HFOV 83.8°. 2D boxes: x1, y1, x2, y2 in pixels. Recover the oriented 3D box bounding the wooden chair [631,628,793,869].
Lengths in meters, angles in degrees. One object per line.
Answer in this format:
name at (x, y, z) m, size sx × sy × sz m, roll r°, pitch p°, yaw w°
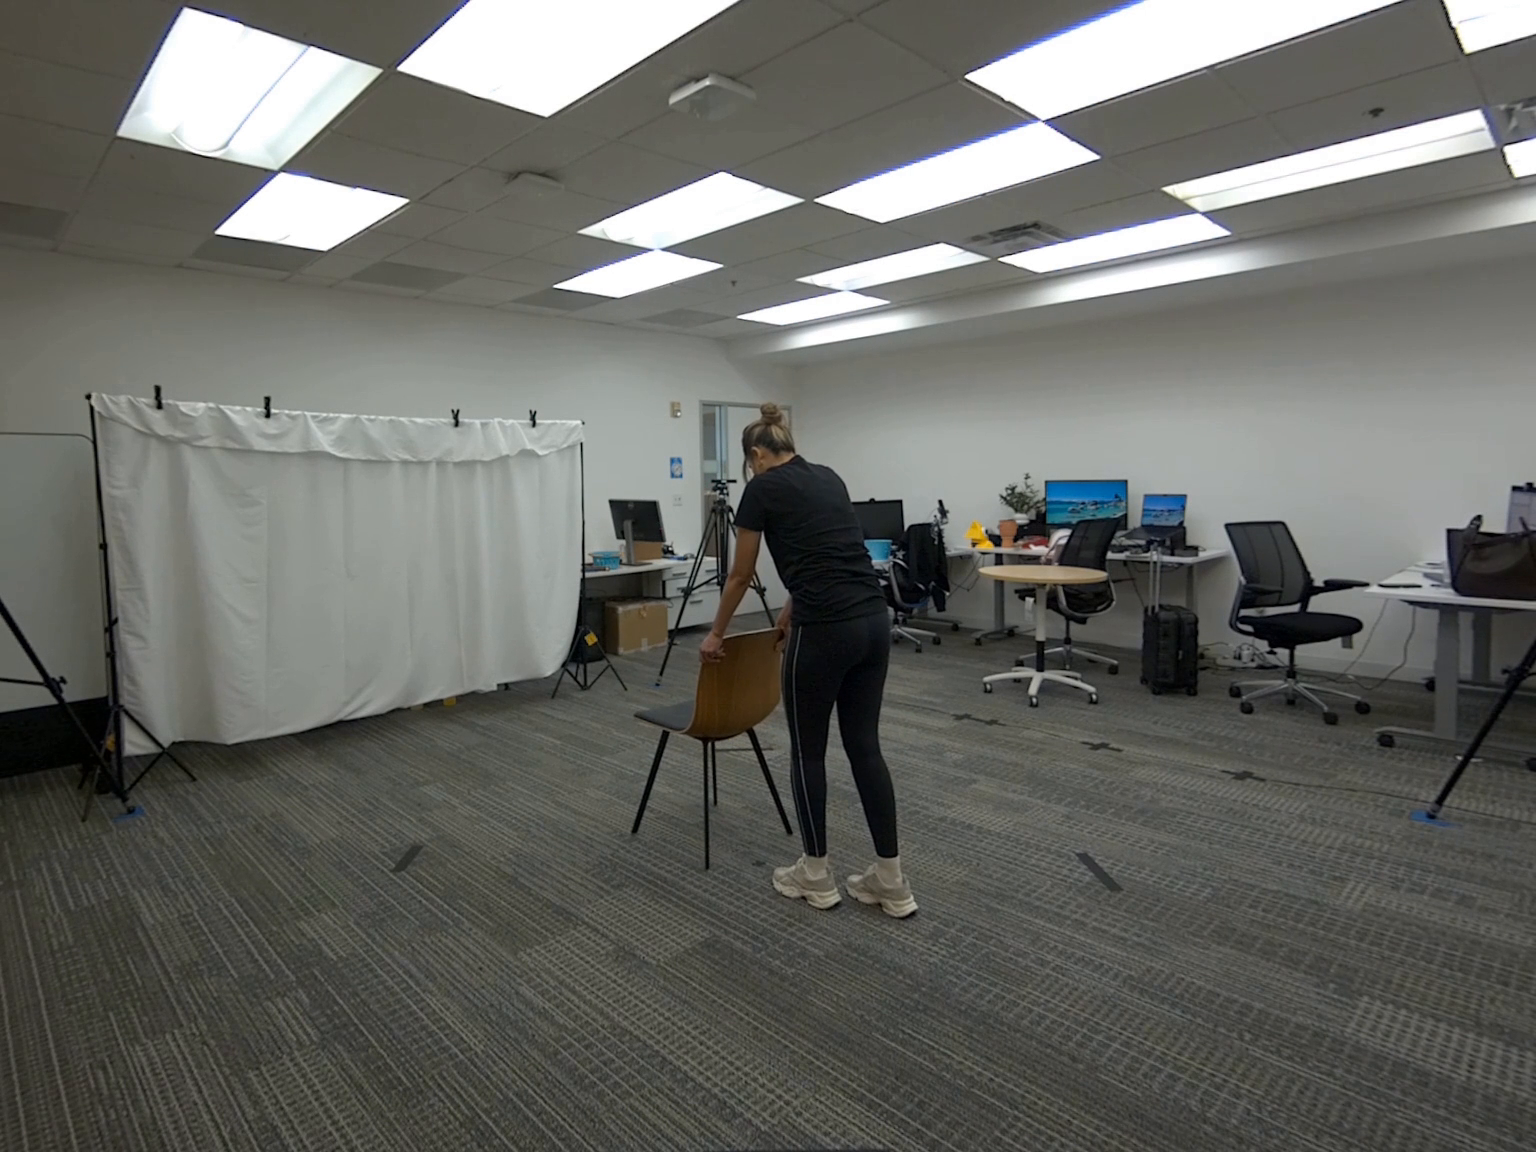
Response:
wooden chair at (-0.234, 0.596, 3.352) m, size 0.465 × 0.872 × 0.541 m, roll -5°, pitch 10°, yaw -44°
